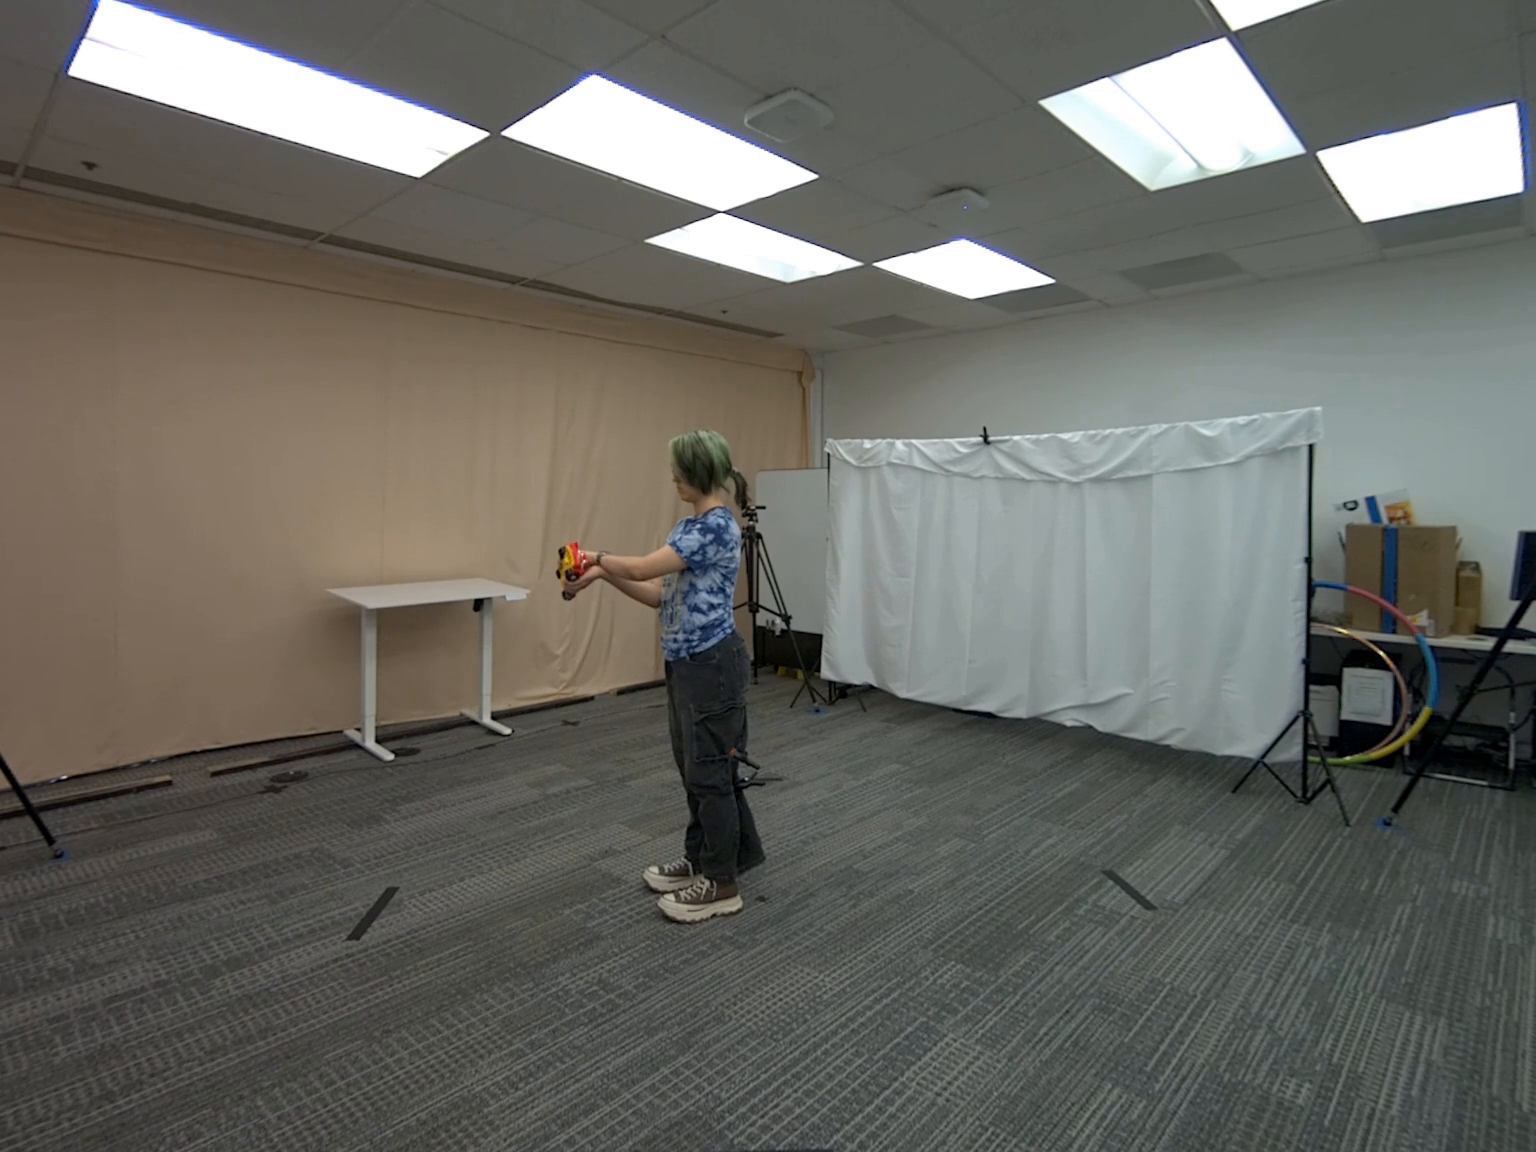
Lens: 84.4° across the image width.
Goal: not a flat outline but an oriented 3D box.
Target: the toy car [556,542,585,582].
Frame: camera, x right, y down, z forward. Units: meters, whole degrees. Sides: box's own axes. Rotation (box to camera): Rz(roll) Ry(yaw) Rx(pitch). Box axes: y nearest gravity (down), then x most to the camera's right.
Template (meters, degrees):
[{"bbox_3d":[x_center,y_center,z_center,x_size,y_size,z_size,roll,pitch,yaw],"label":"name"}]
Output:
[{"bbox_3d":[-0.683,-0.020,2.904,0.081,0.133,0.256,-6,-29,-34],"label":"toy car"}]
